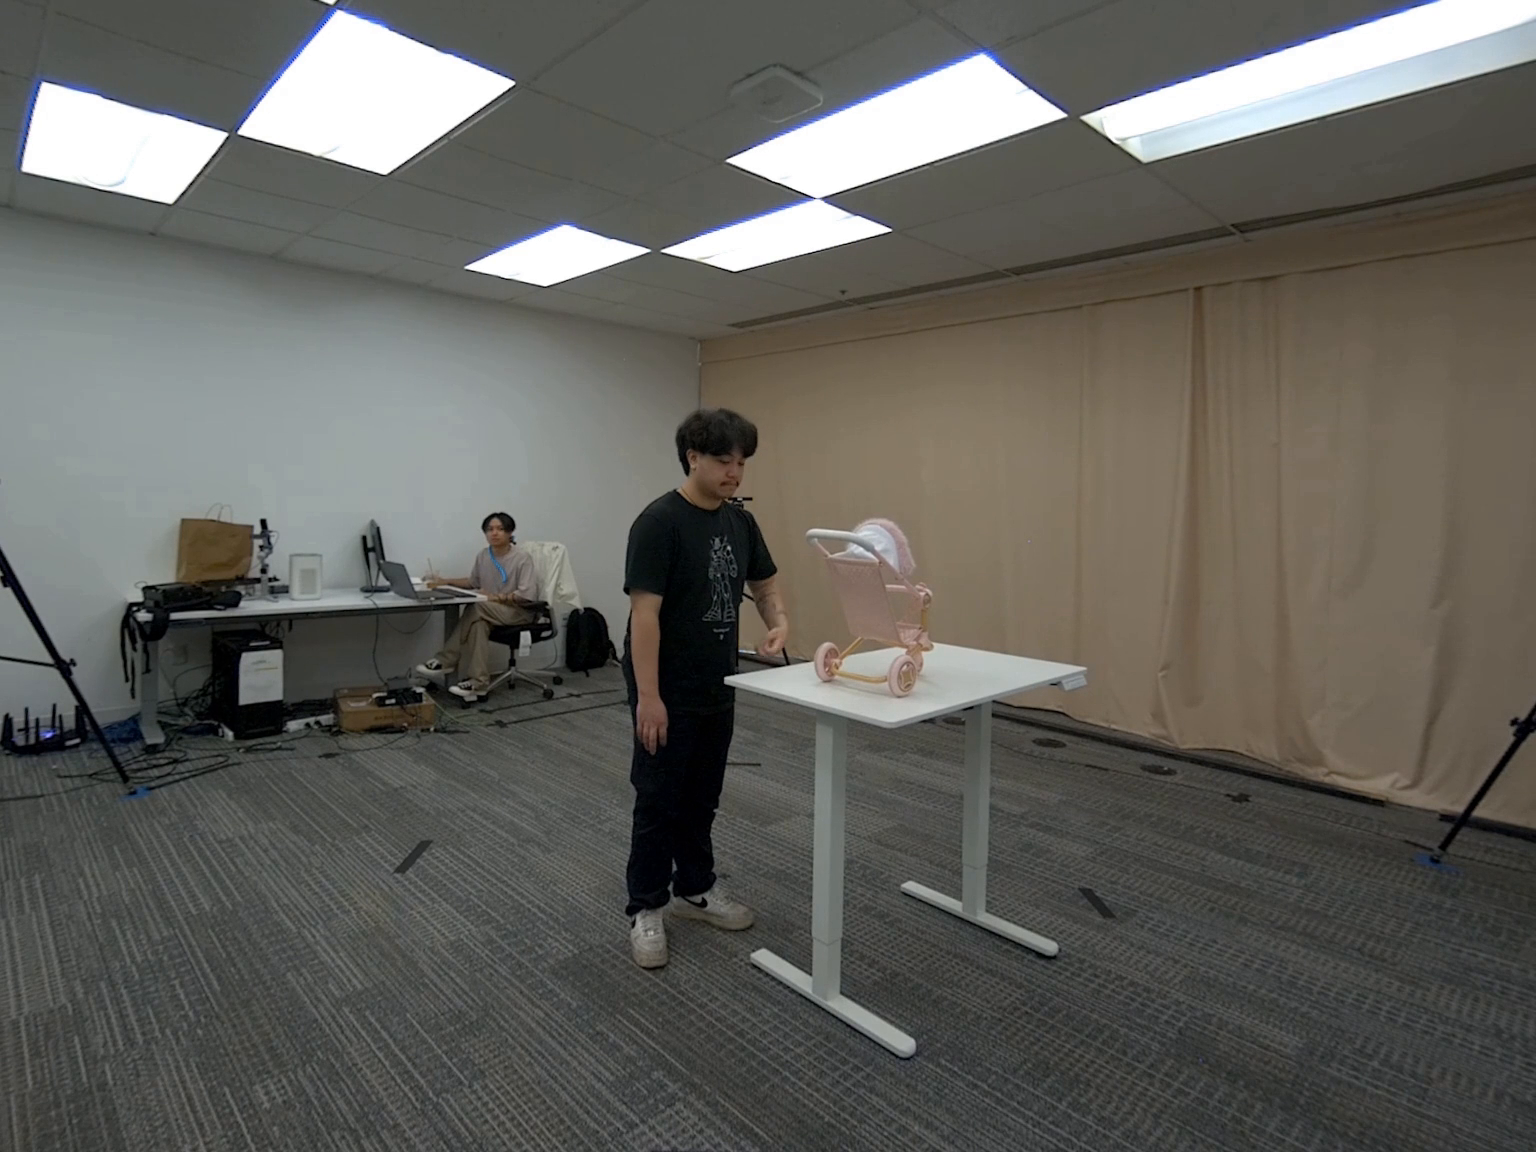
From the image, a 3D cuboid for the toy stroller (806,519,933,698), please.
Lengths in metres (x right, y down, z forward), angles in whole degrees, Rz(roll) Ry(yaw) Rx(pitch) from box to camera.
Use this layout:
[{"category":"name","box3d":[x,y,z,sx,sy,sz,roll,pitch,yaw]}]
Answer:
[{"category":"toy stroller","box3d":[0.309,0.082,2.338,0.336,0.529,0.289,-22,18,-39]}]
